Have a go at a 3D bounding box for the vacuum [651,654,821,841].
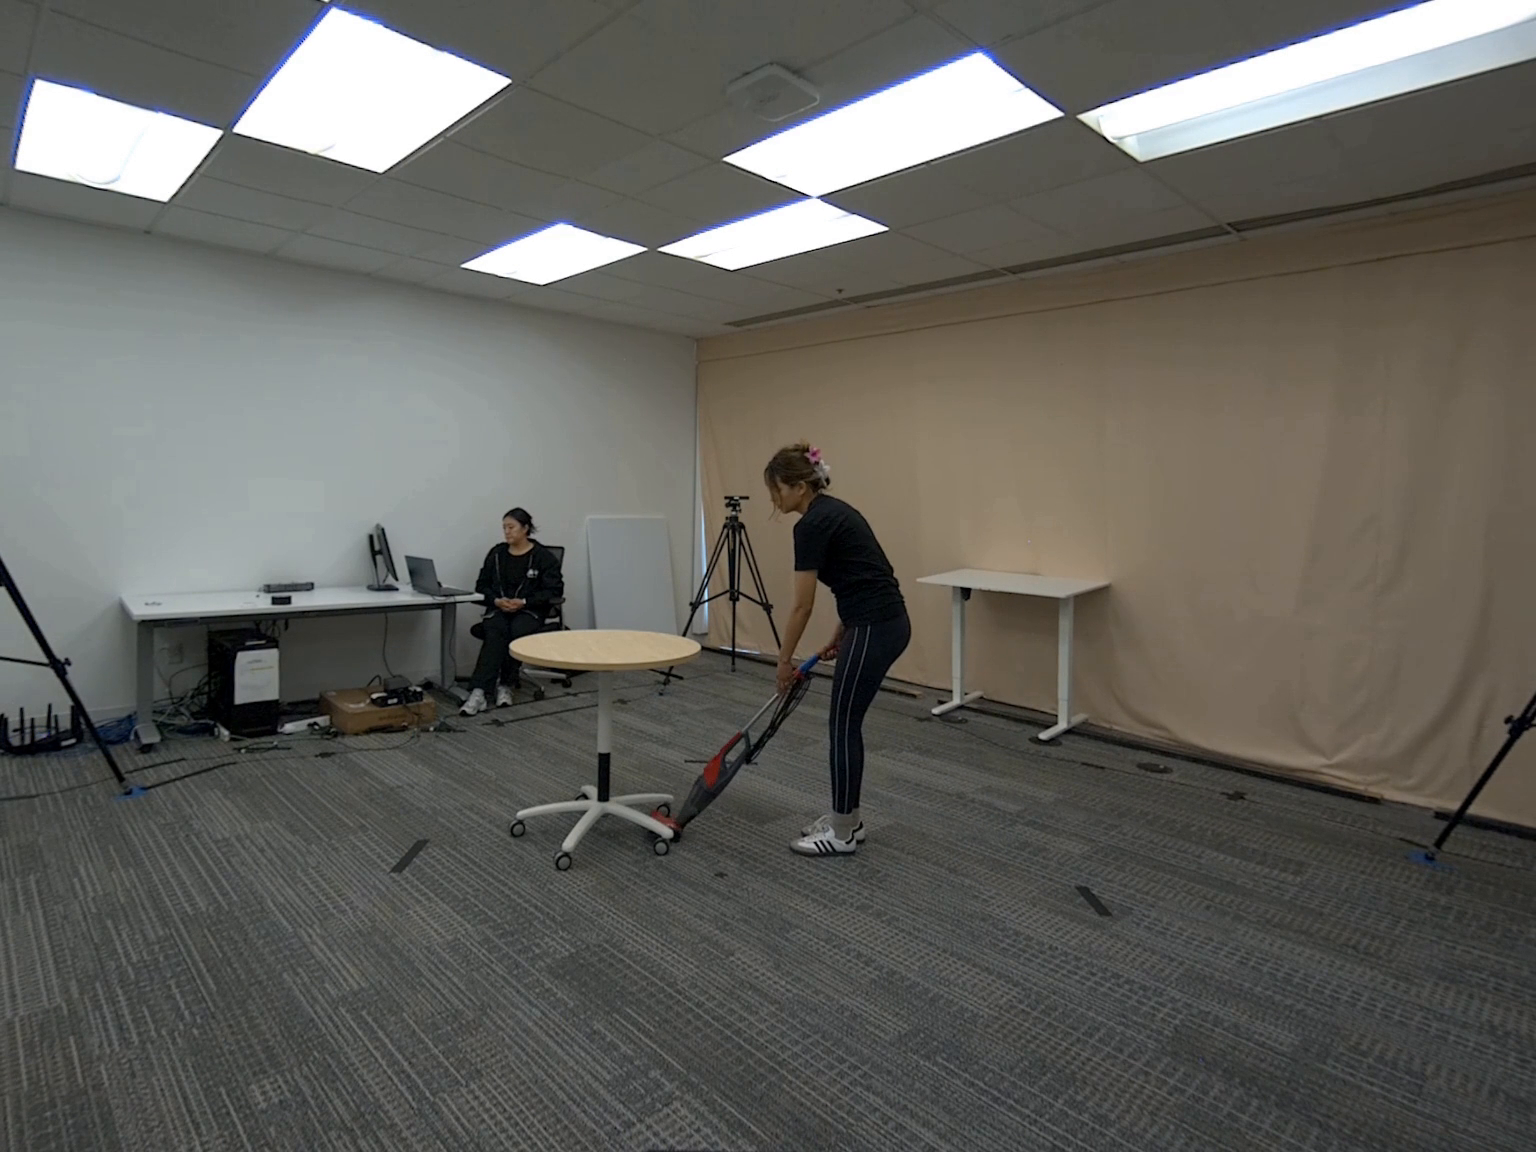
[{"bbox_3d":[-0.064,0.652,3.433,0.143,1.049,0.253,45,0,-4],"label":"vacuum"}]
